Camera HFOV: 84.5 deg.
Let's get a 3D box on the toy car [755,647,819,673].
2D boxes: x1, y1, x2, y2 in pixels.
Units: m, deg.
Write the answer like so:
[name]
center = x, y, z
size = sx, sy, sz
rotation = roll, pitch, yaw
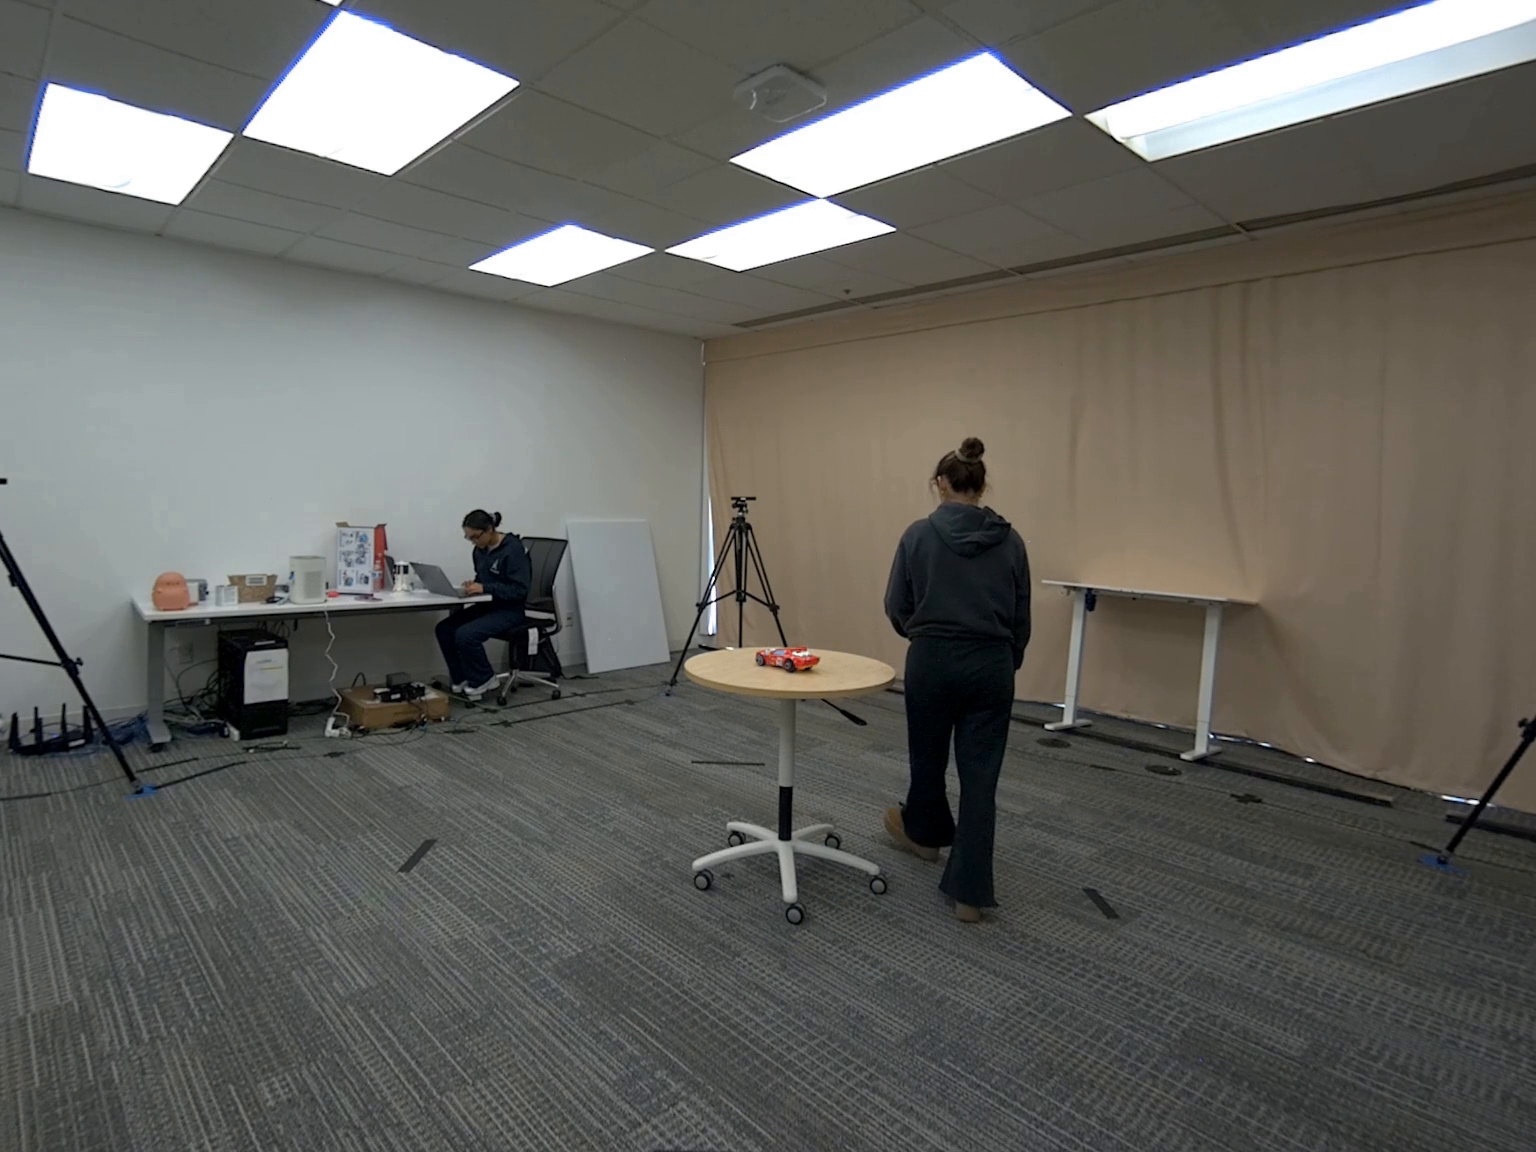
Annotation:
[toy car]
center = 0.068, 0.302, 3.048
size = 0.127, 0.083, 0.260
rotation = -3, -3, -45
